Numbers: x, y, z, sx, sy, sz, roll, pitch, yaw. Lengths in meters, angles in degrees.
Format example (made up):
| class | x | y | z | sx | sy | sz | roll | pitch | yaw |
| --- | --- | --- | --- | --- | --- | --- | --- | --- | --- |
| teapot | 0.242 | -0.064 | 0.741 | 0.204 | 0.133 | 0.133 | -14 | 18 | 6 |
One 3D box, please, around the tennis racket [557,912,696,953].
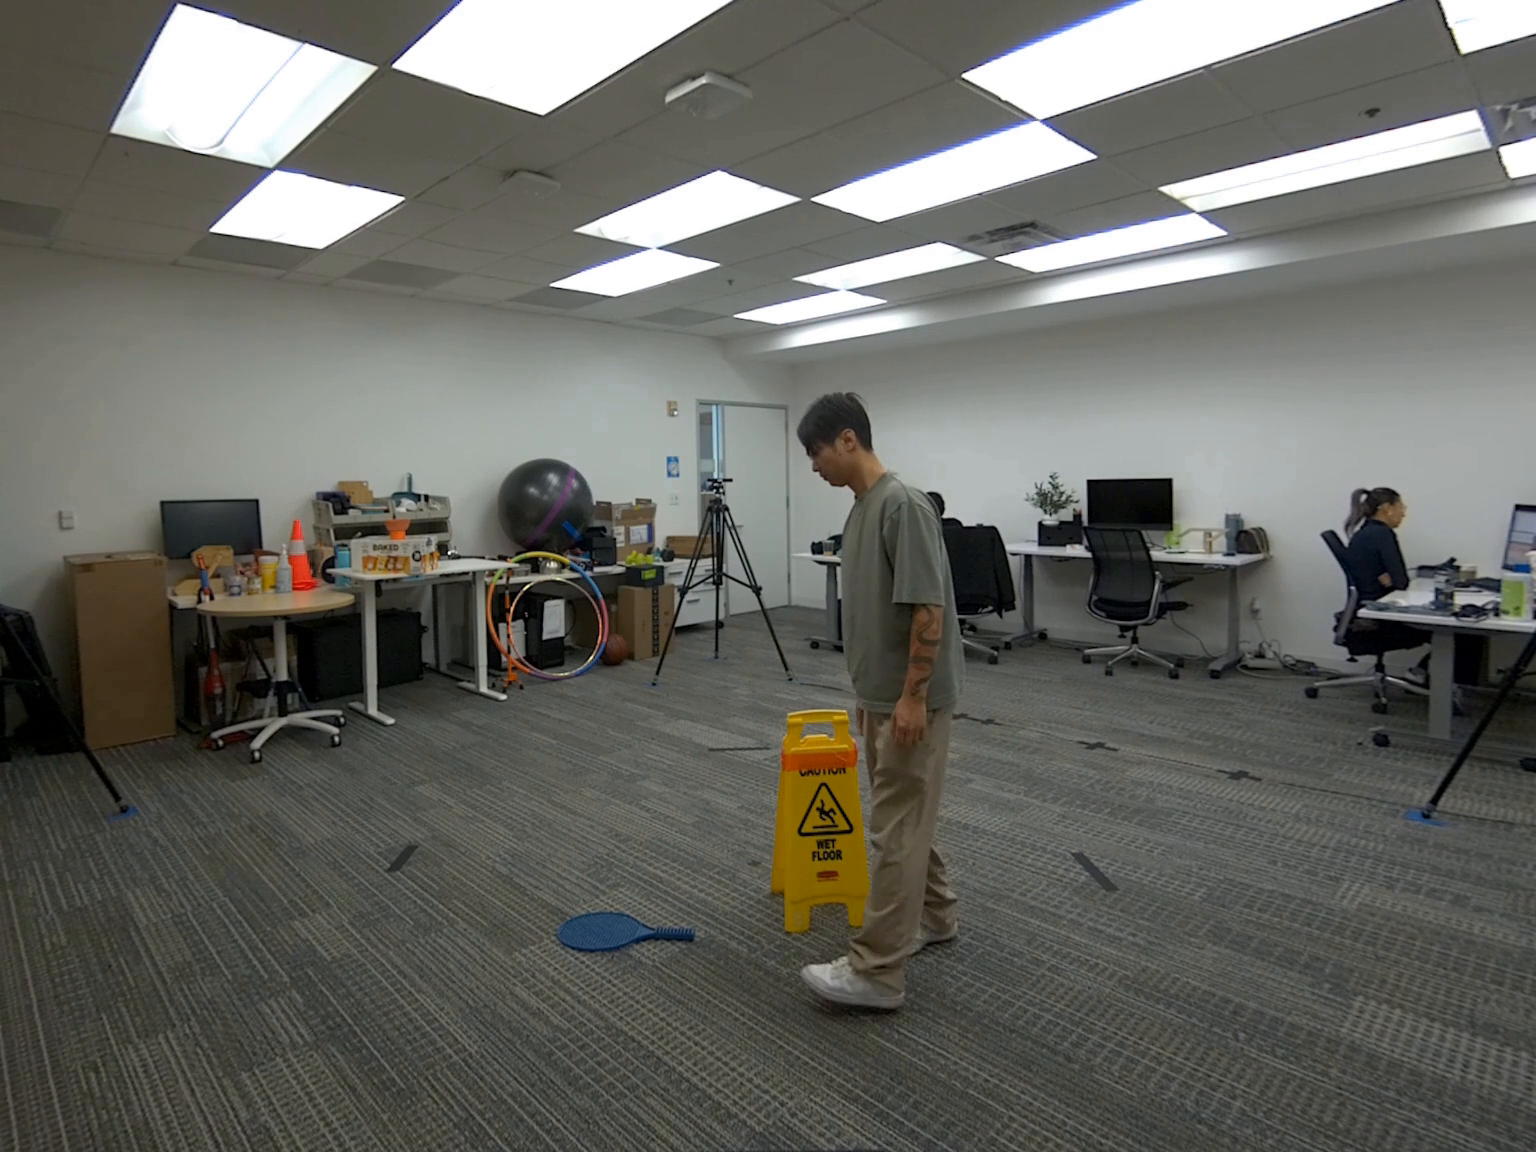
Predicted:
| class | x | y | z | sx | sy | sz | roll | pitch | yaw |
| --- | --- | --- | --- | --- | --- | --- | --- | --- | --- |
| tennis racket | -0.440 | 1.102 | 2.634 | 0.436 | 0.031 | 0.213 | -1 | 5 | 8 |
